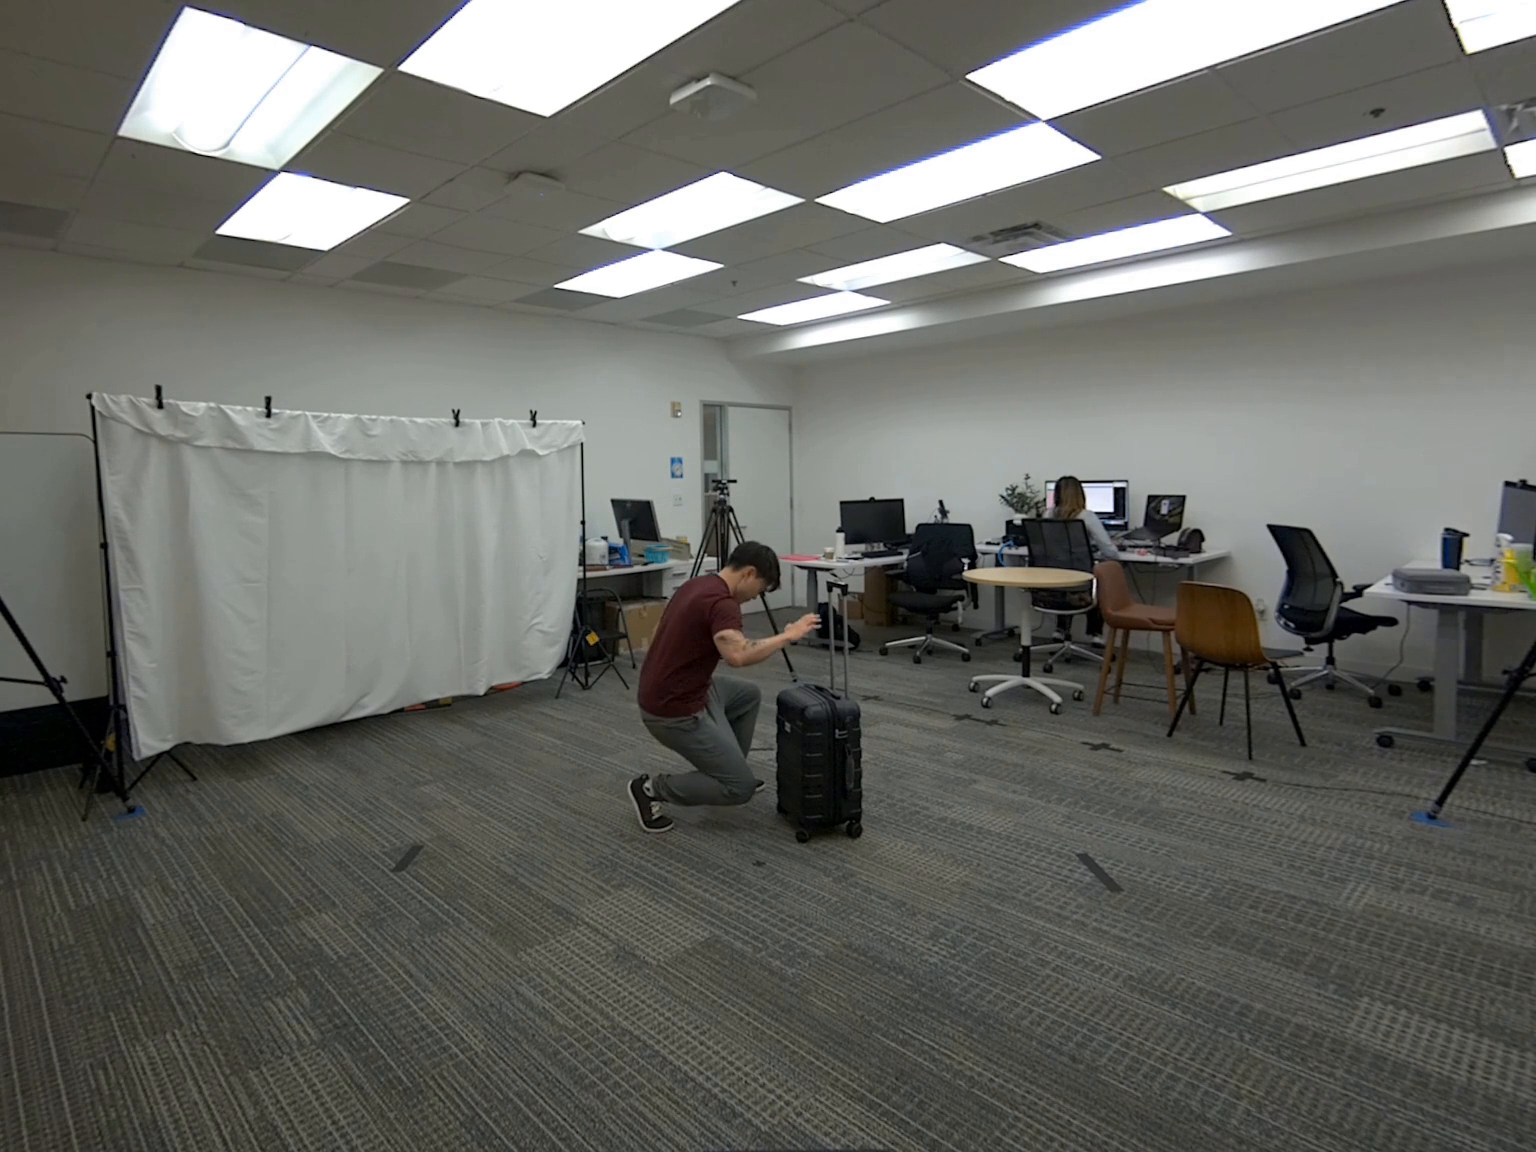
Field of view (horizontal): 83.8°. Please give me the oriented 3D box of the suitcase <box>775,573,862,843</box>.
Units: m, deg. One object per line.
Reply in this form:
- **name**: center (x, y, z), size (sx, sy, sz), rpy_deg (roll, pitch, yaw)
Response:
- **suitcase**: center (0.199, 0.534, 3.423), size (0.254, 0.976, 0.390), rpy_deg (-2, 3, -15)
